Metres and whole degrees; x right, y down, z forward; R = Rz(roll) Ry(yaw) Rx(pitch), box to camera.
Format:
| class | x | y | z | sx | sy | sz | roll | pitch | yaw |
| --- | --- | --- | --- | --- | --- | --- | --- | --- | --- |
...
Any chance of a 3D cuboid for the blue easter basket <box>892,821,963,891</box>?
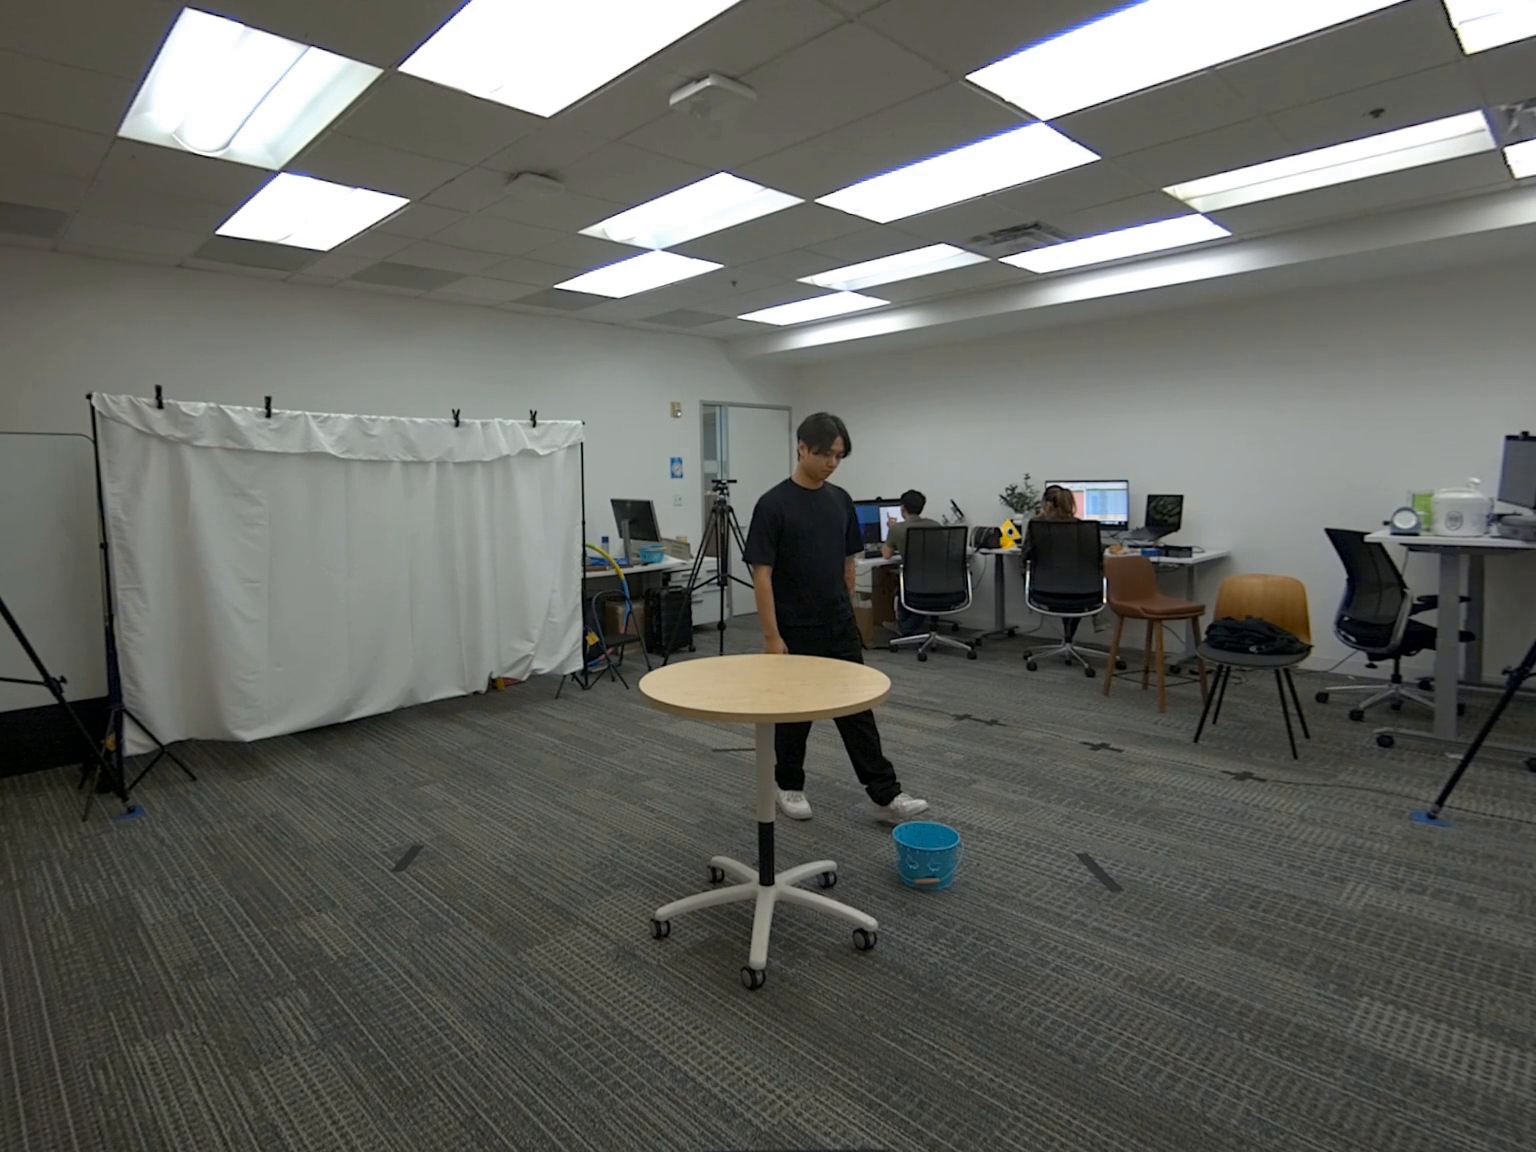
| class | x | y | z | sx | sy | sz | roll | pitch | yaw |
| --- | --- | --- | --- | --- | --- | --- | --- | --- | --- |
| blue easter basket | 0.547 | 0.975 | 2.969 | 0.243 | 0.155 | 0.245 | -3 | 5 | -1 |
